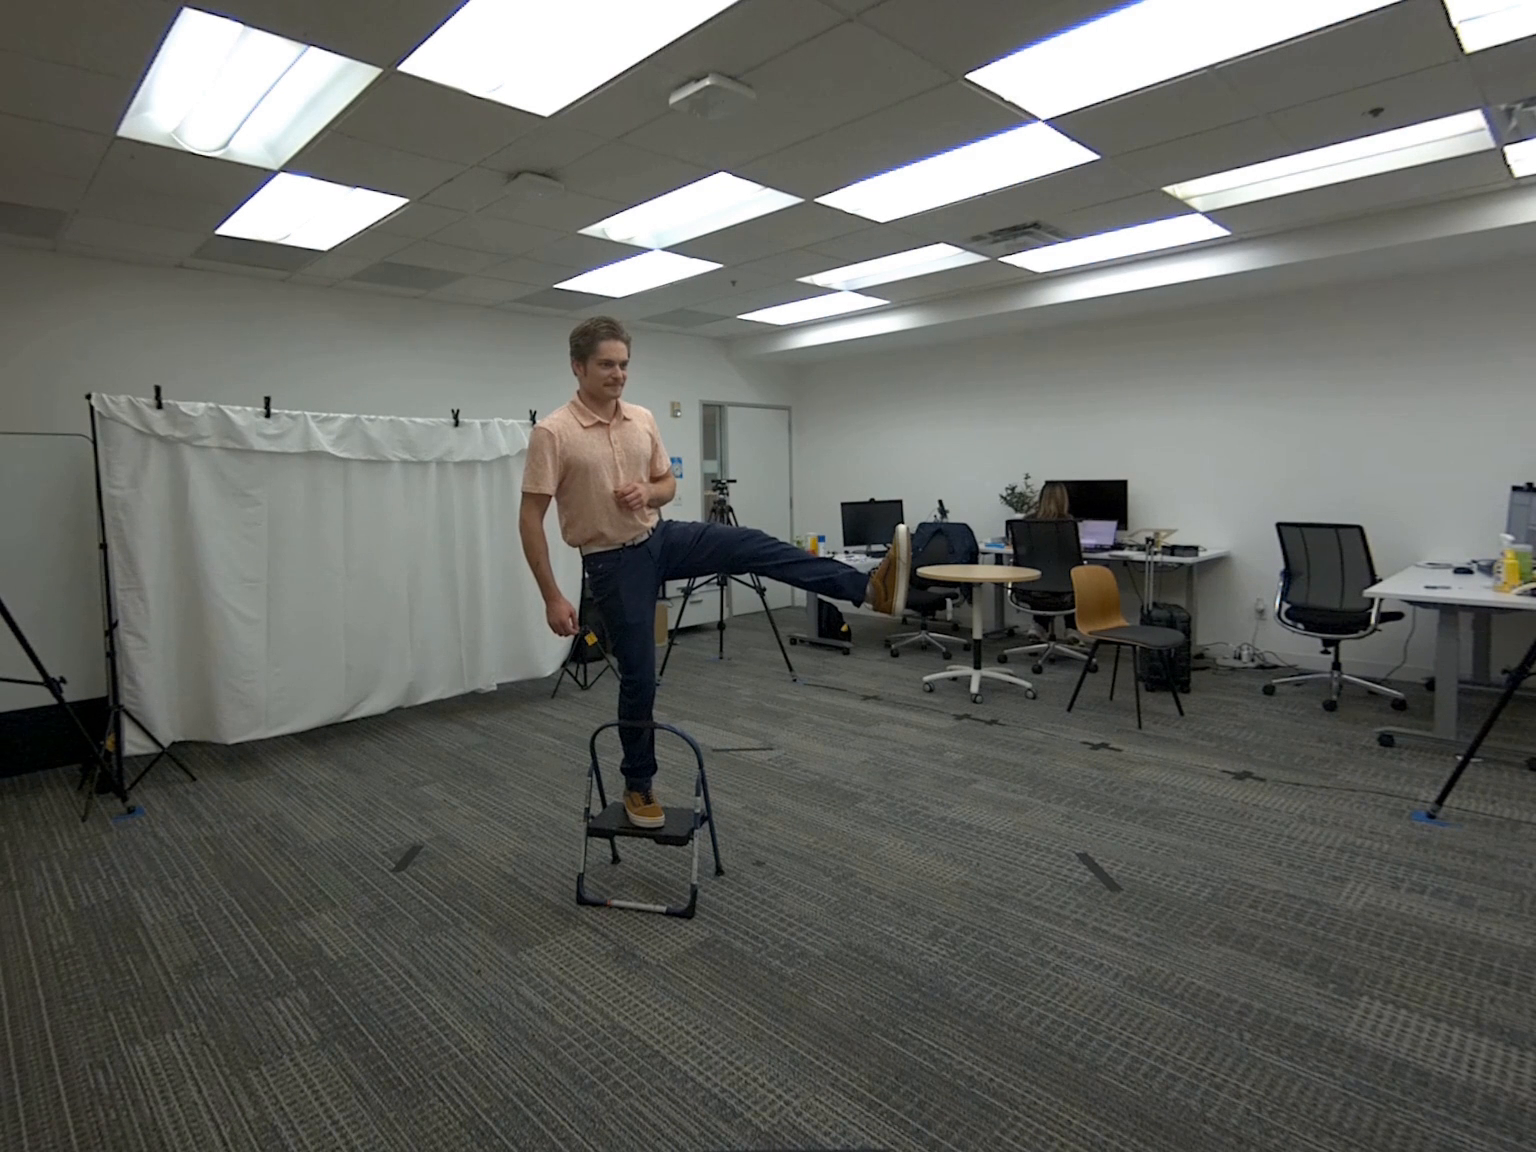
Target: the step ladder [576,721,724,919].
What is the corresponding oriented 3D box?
[{"bbox_3d":[-0.406,0.777,2.922,0.437,0.604,0.346,0,5,14],"label":"step ladder"}]
